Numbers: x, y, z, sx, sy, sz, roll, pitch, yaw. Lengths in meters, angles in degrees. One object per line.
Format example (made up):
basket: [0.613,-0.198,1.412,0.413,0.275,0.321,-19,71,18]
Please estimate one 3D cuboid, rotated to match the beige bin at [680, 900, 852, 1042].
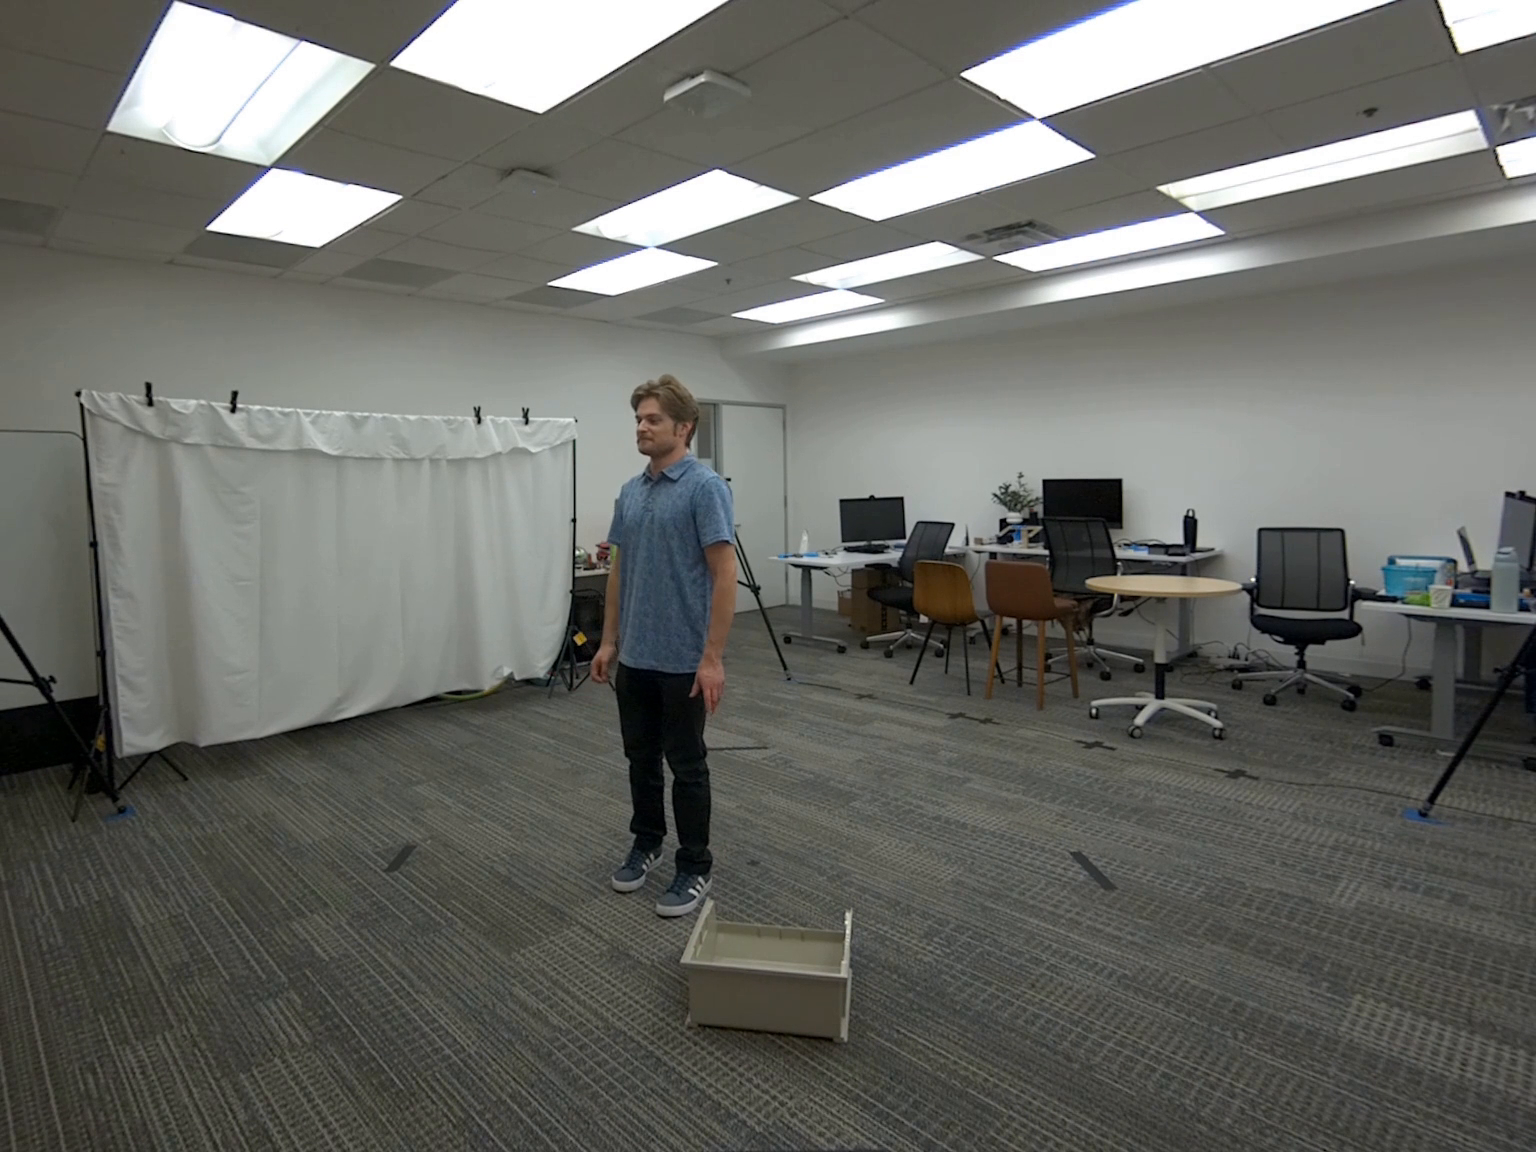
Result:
beige bin: [0.017,1.048,2.312,0.426,0.188,0.376,1,7,9]
